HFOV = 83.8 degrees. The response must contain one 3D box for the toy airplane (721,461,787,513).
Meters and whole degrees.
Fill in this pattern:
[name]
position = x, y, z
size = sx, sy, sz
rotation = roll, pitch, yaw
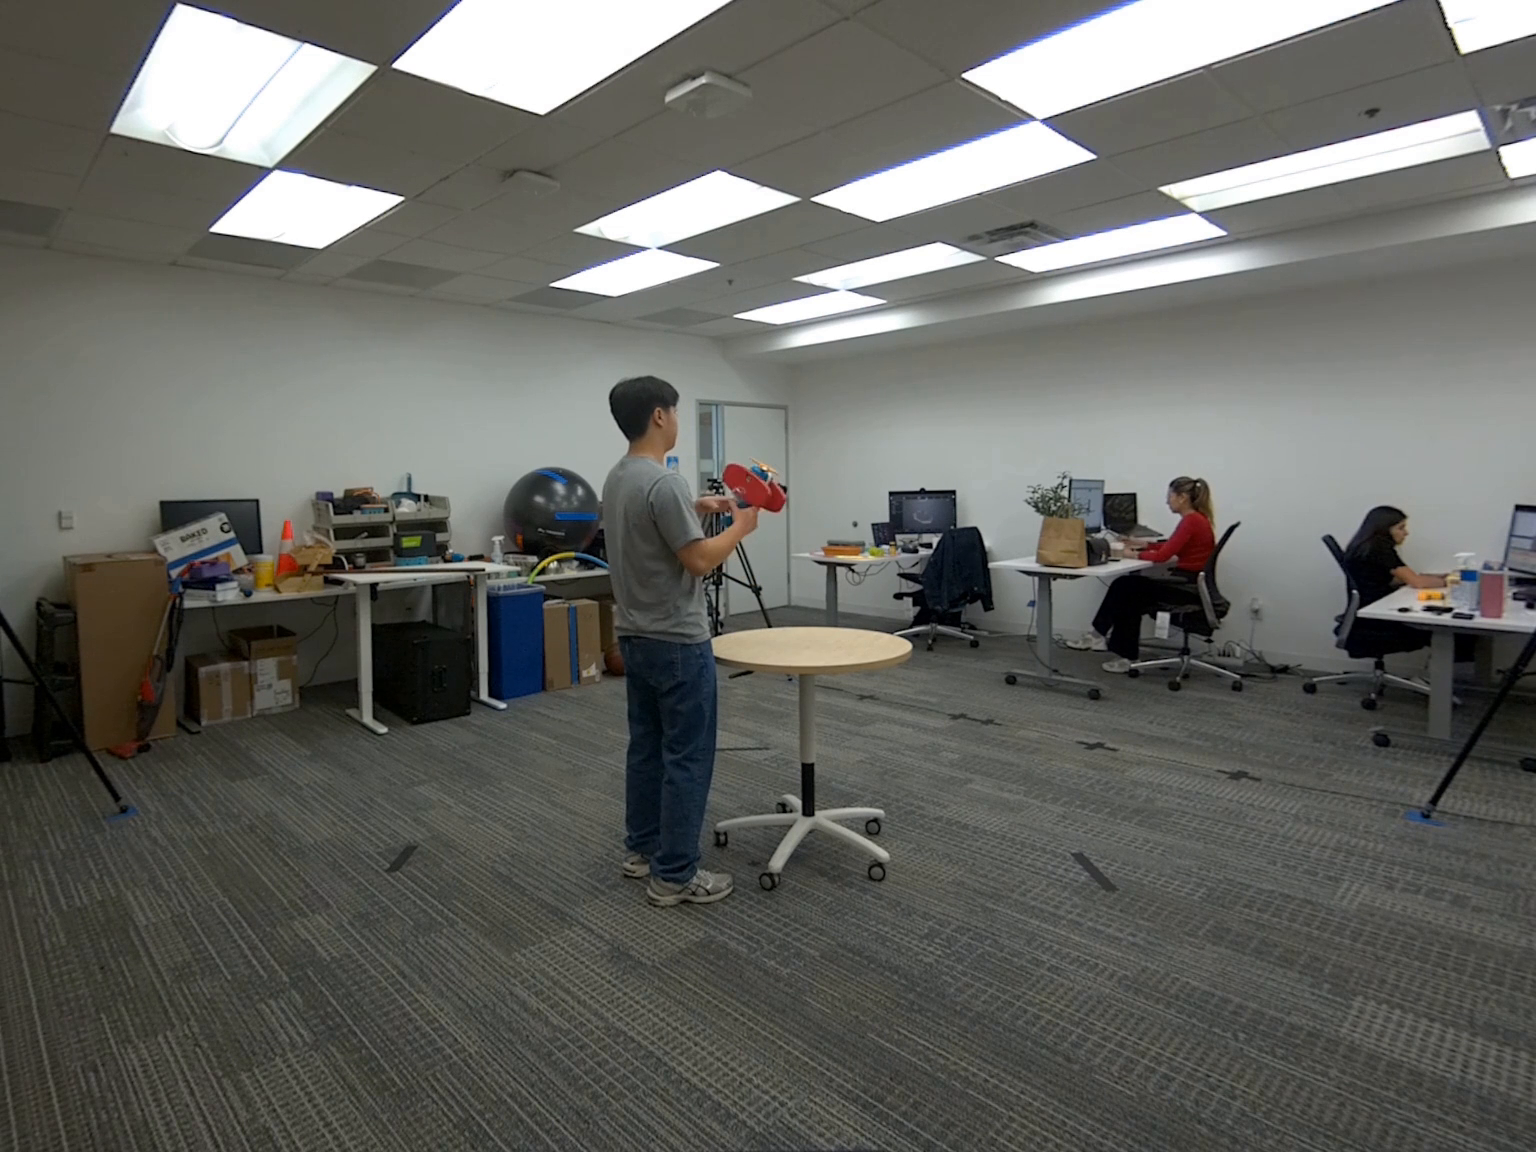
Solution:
[toy airplane]
position = -0.056, -0.244, 2.996
size = 0.258, 0.262, 0.150
rotation = 3, -22, 38
